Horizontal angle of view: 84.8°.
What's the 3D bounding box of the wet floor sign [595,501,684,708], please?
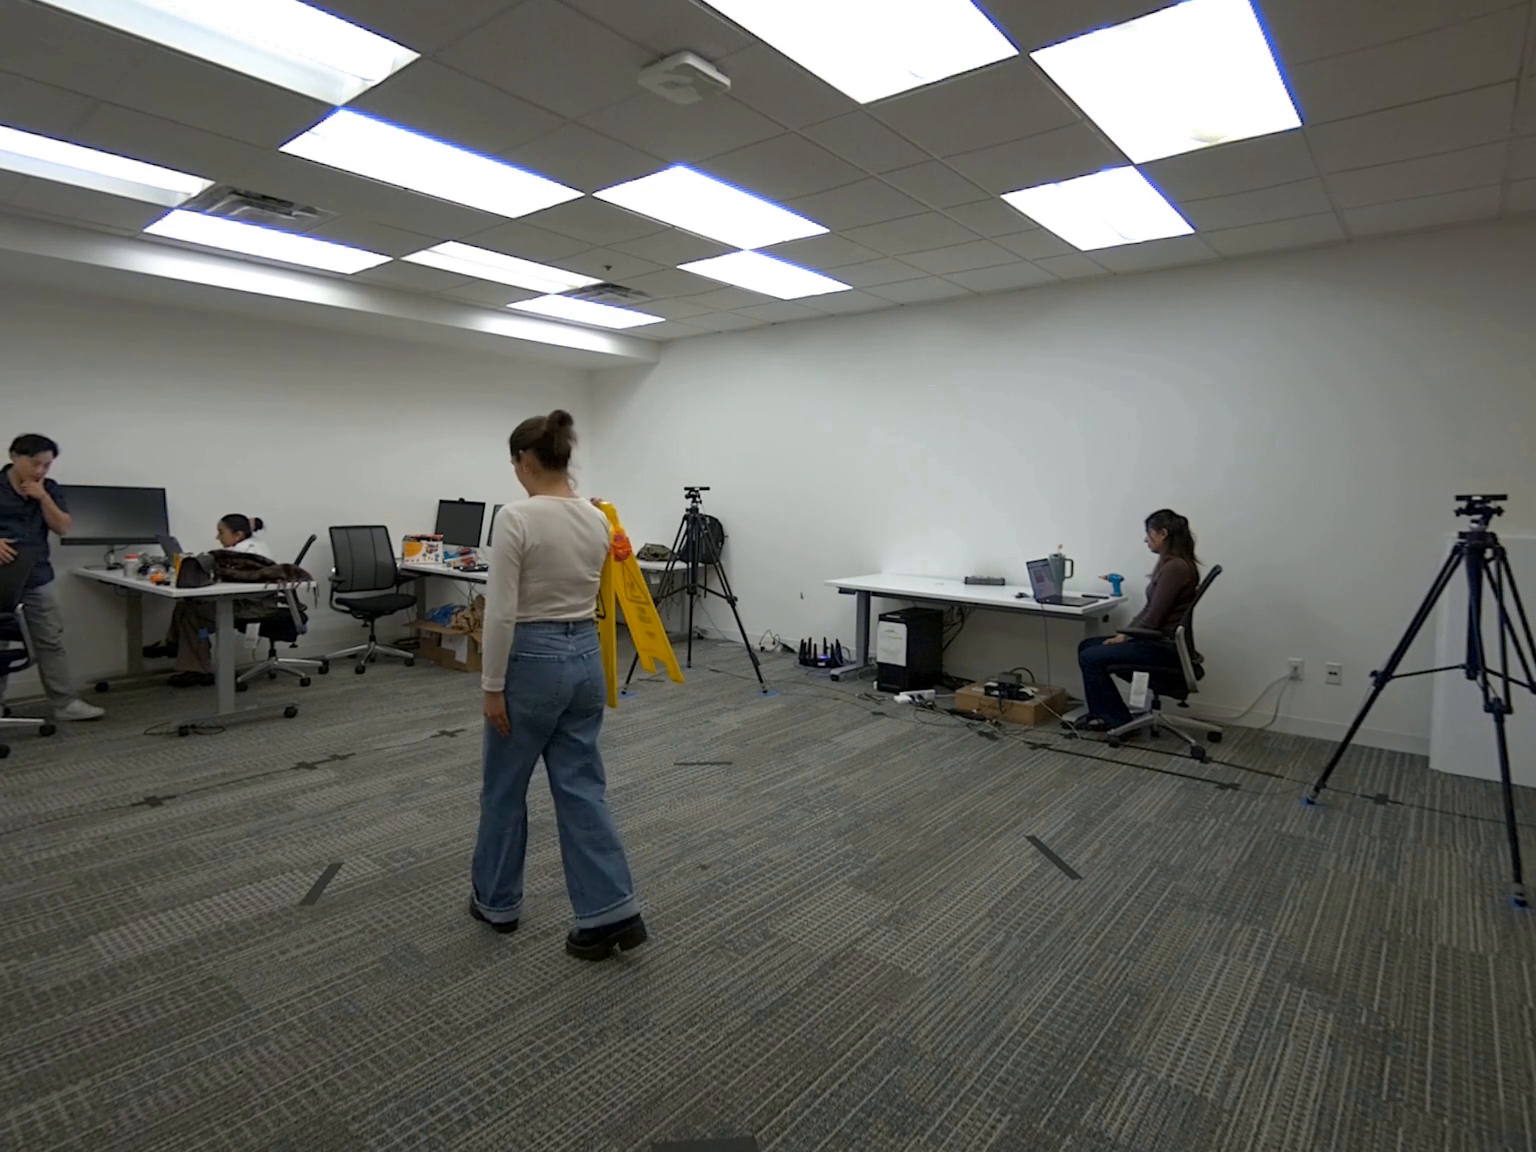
[{"bbox_3d":[-0.522,0.066,2.865,0.283,0.640,0.291,-15,10,-34],"label":"wet floor sign"}]
